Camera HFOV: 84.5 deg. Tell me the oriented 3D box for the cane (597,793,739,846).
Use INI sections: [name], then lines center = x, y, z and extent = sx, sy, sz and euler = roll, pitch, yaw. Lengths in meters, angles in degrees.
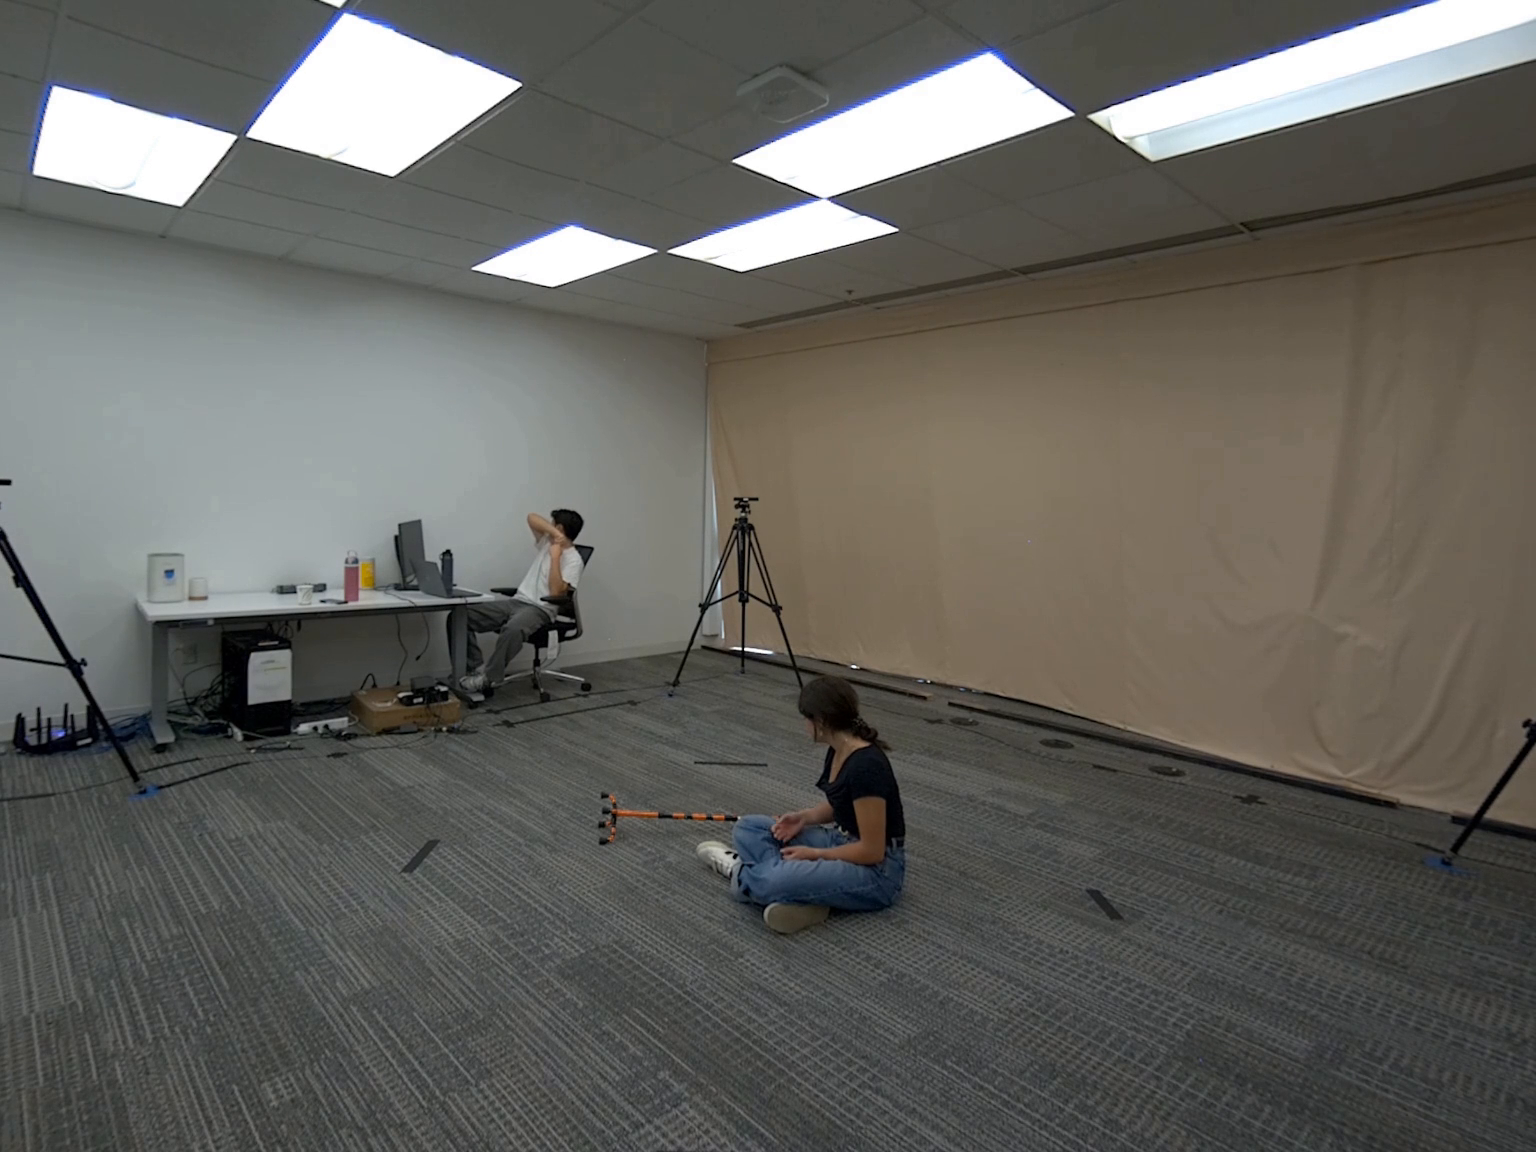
[cane]
center = -0.258, 1.026, 3.523
extent = 0.900, 0.151, 0.208
euler = 5, 2, -10
